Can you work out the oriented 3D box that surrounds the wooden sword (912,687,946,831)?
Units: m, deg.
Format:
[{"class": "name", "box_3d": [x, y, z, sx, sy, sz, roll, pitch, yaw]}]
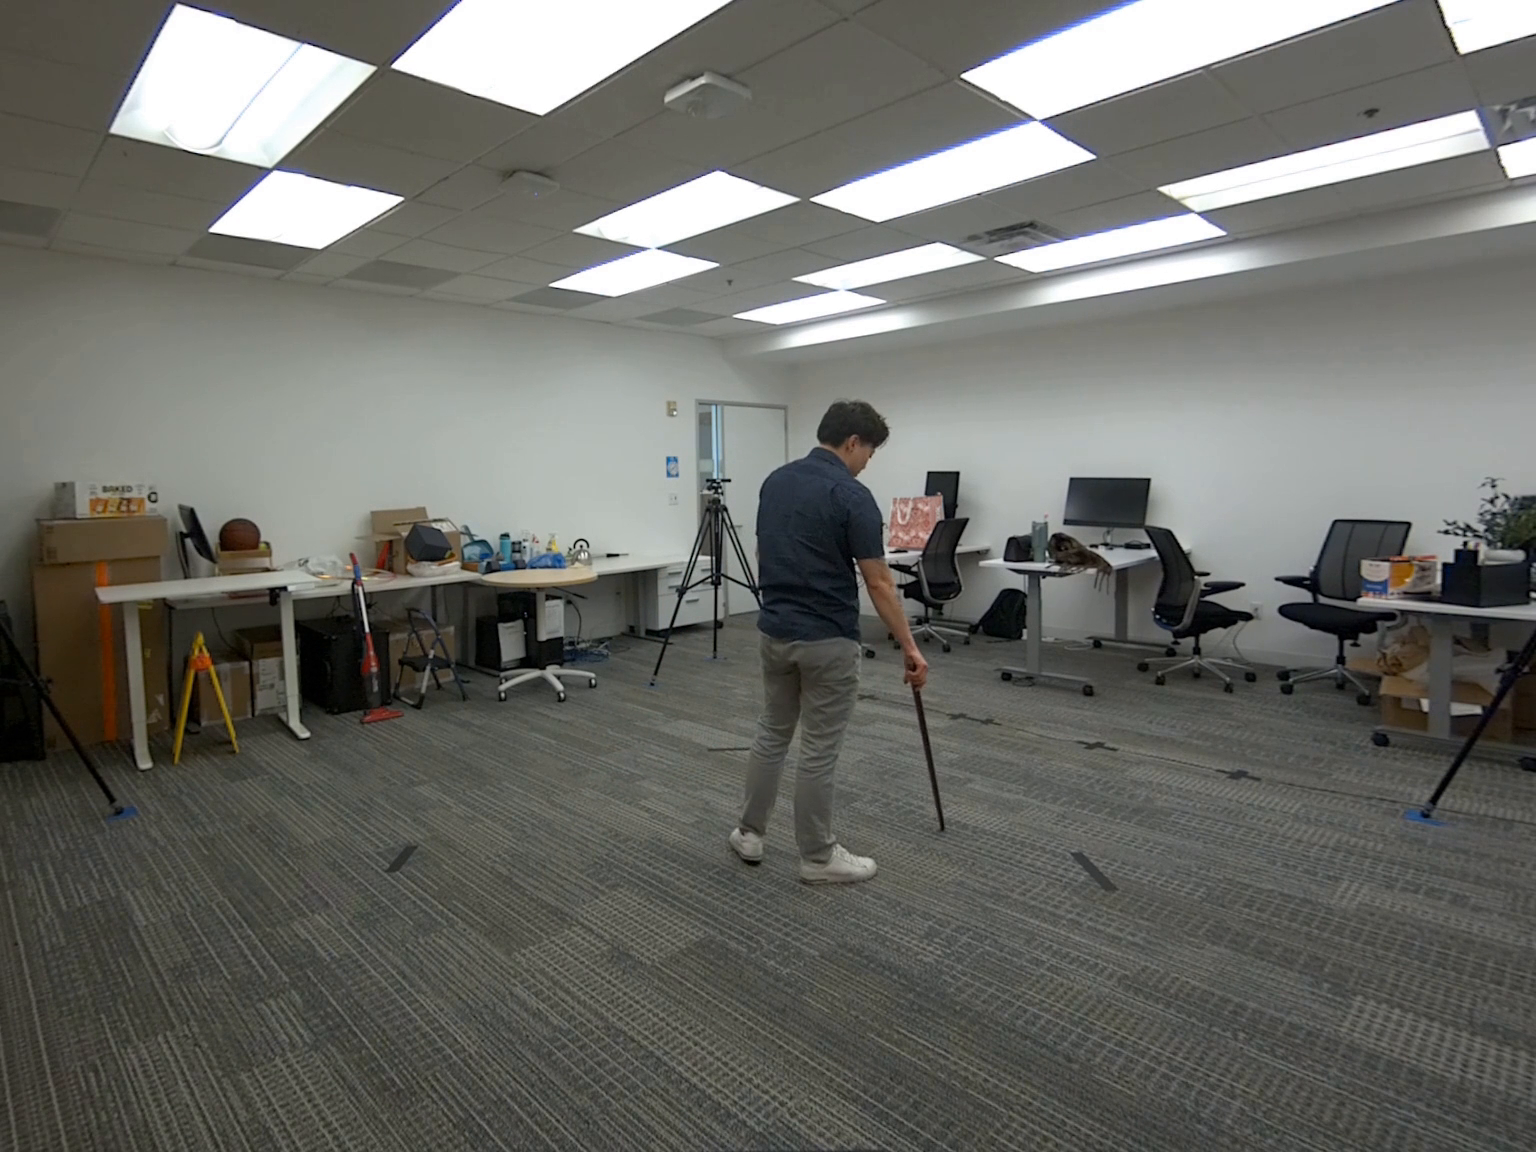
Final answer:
[{"class": "wooden sword", "box_3d": [0.571, 0.641, 3.054, 0.024, 0.989, 0.053, -18, 41, 1]}]
